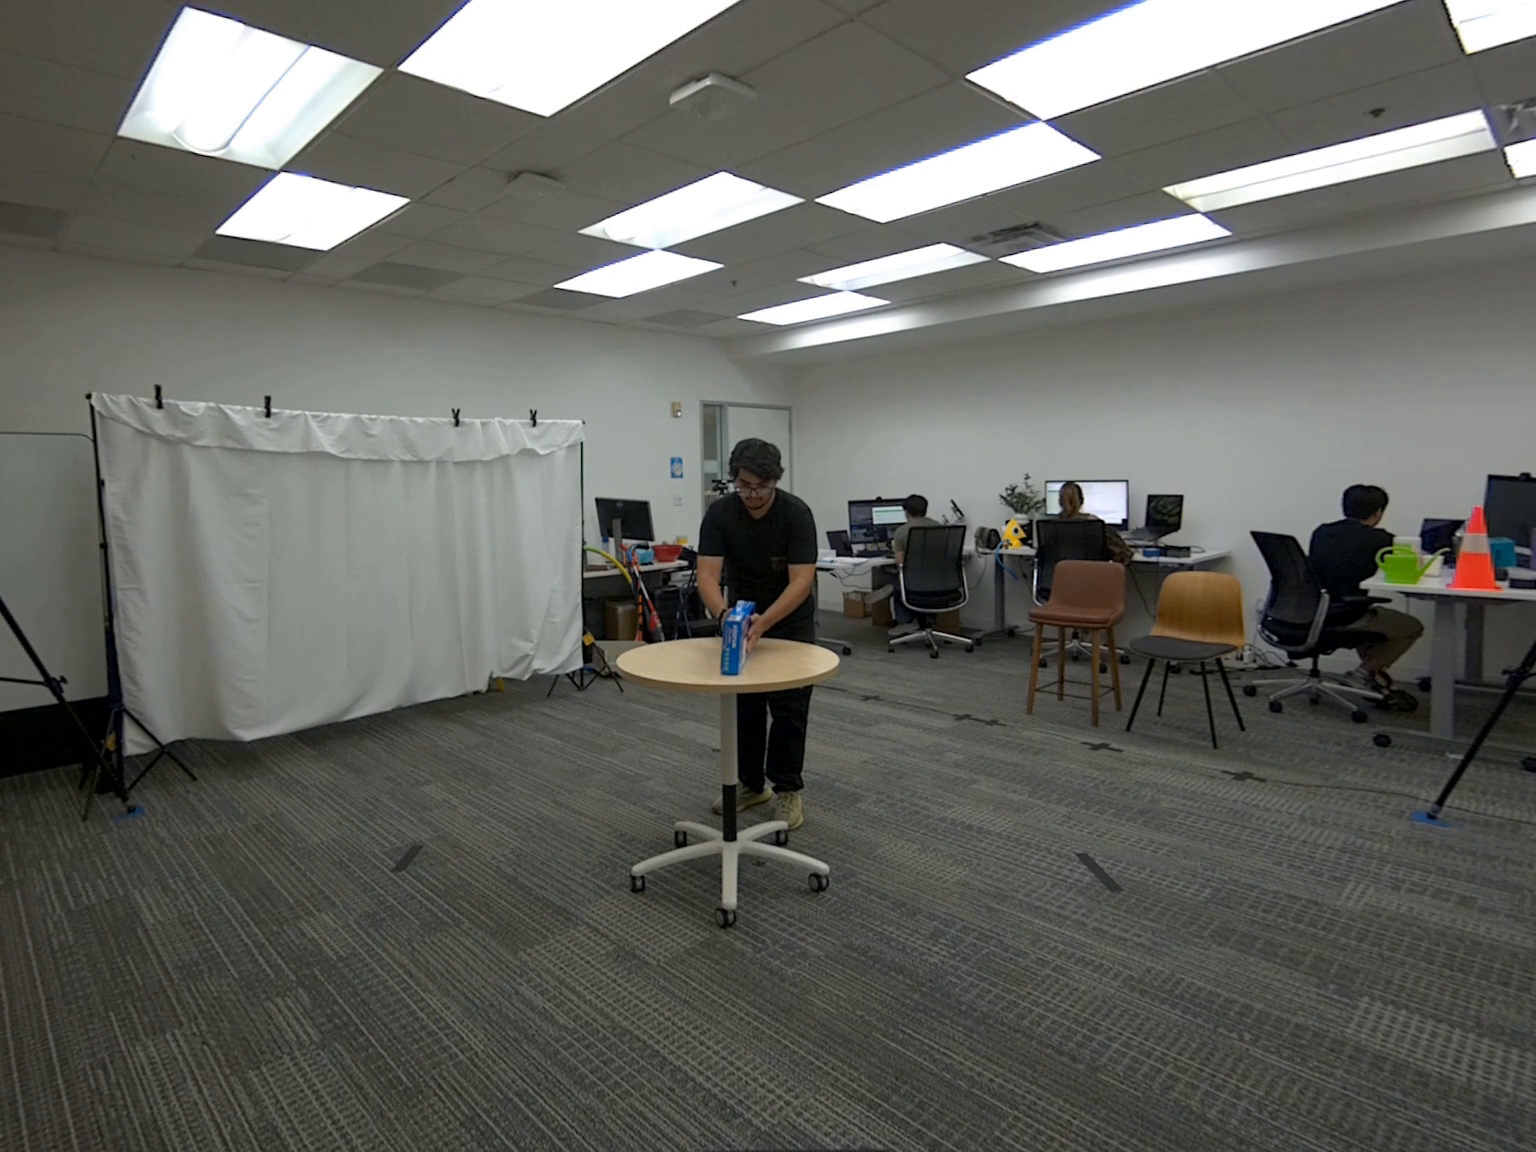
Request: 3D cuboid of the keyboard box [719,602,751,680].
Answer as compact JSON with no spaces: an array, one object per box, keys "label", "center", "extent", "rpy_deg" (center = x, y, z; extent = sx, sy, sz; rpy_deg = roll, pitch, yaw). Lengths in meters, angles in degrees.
[{"label":"keyboard box","center":[-0.110,0.209,2.898],"extent":[0.059,0.175,0.437],"rpy_deg":[3,6,2]}]
